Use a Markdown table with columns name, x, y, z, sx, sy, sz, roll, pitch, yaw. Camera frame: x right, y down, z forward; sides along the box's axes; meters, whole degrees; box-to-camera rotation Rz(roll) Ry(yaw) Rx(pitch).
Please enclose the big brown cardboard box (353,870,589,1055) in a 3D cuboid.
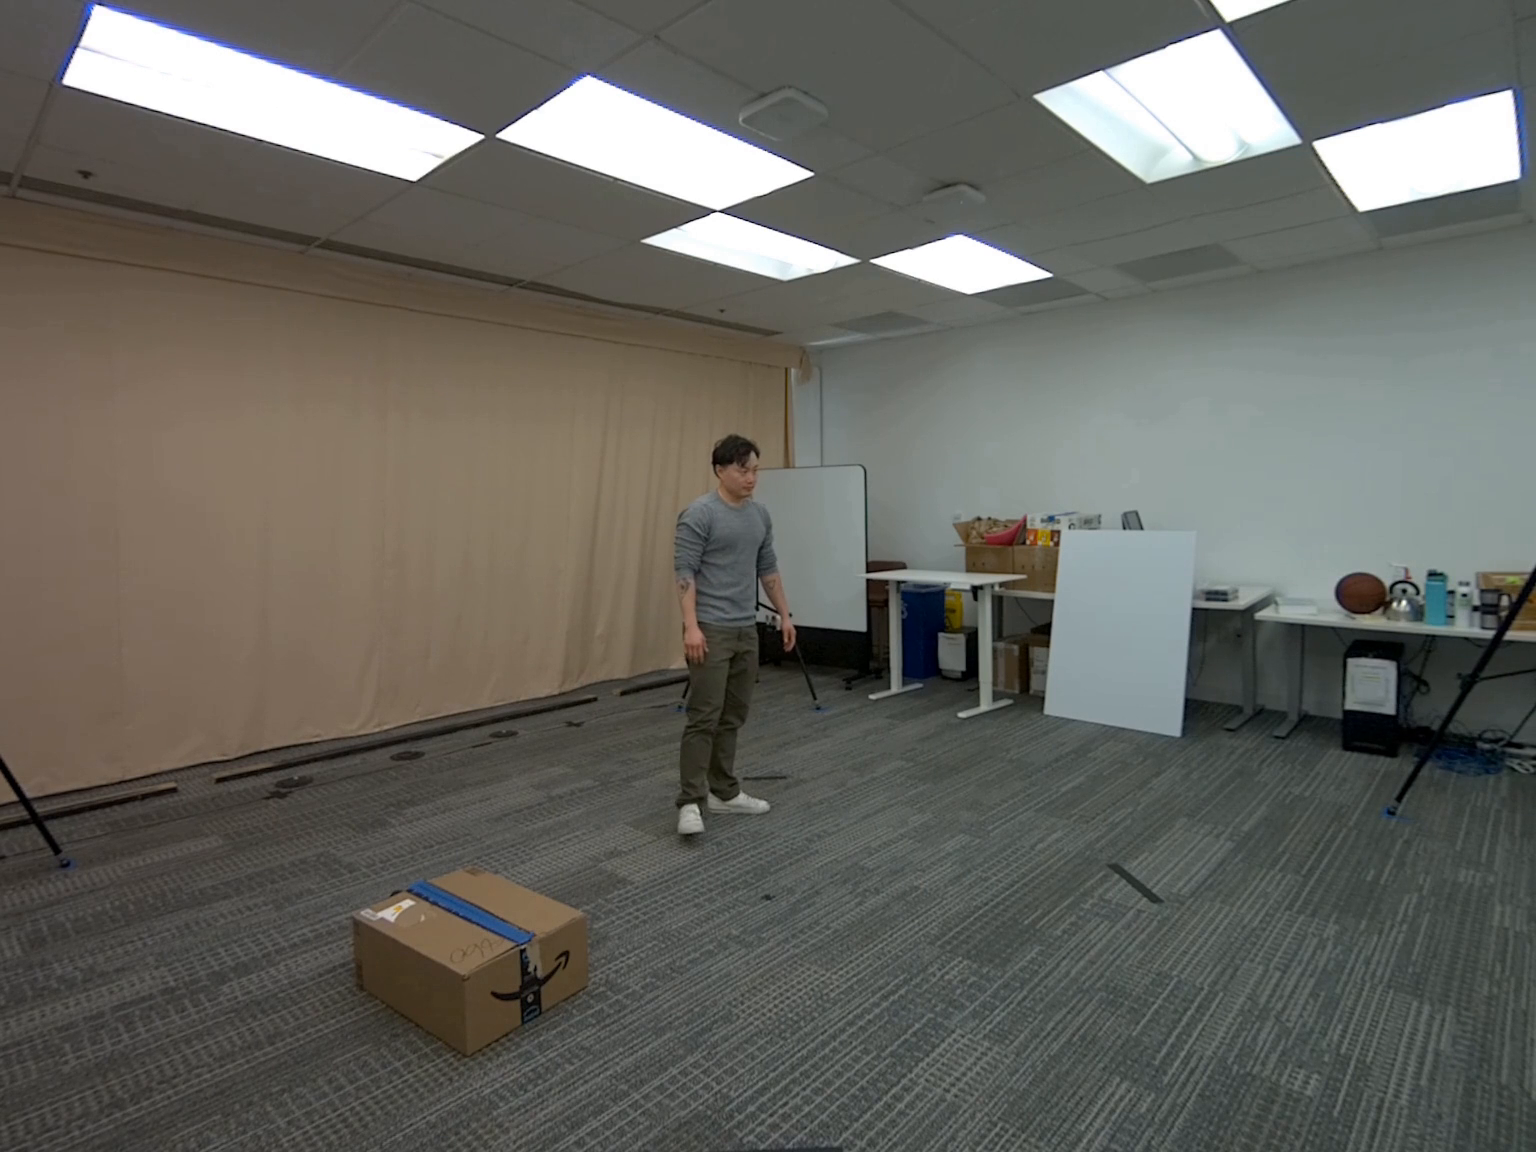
| name | x | y | z | sx | sy | sz | roll | pitch | yaw |
| --- | --- | --- | --- | --- | --- | --- | --- | --- | --- |
| big brown cardboard box | -0.878 | 1.092 | 2.469 | 0.608 | 0.232 | 0.405 | 3 | 6 | 37 |
